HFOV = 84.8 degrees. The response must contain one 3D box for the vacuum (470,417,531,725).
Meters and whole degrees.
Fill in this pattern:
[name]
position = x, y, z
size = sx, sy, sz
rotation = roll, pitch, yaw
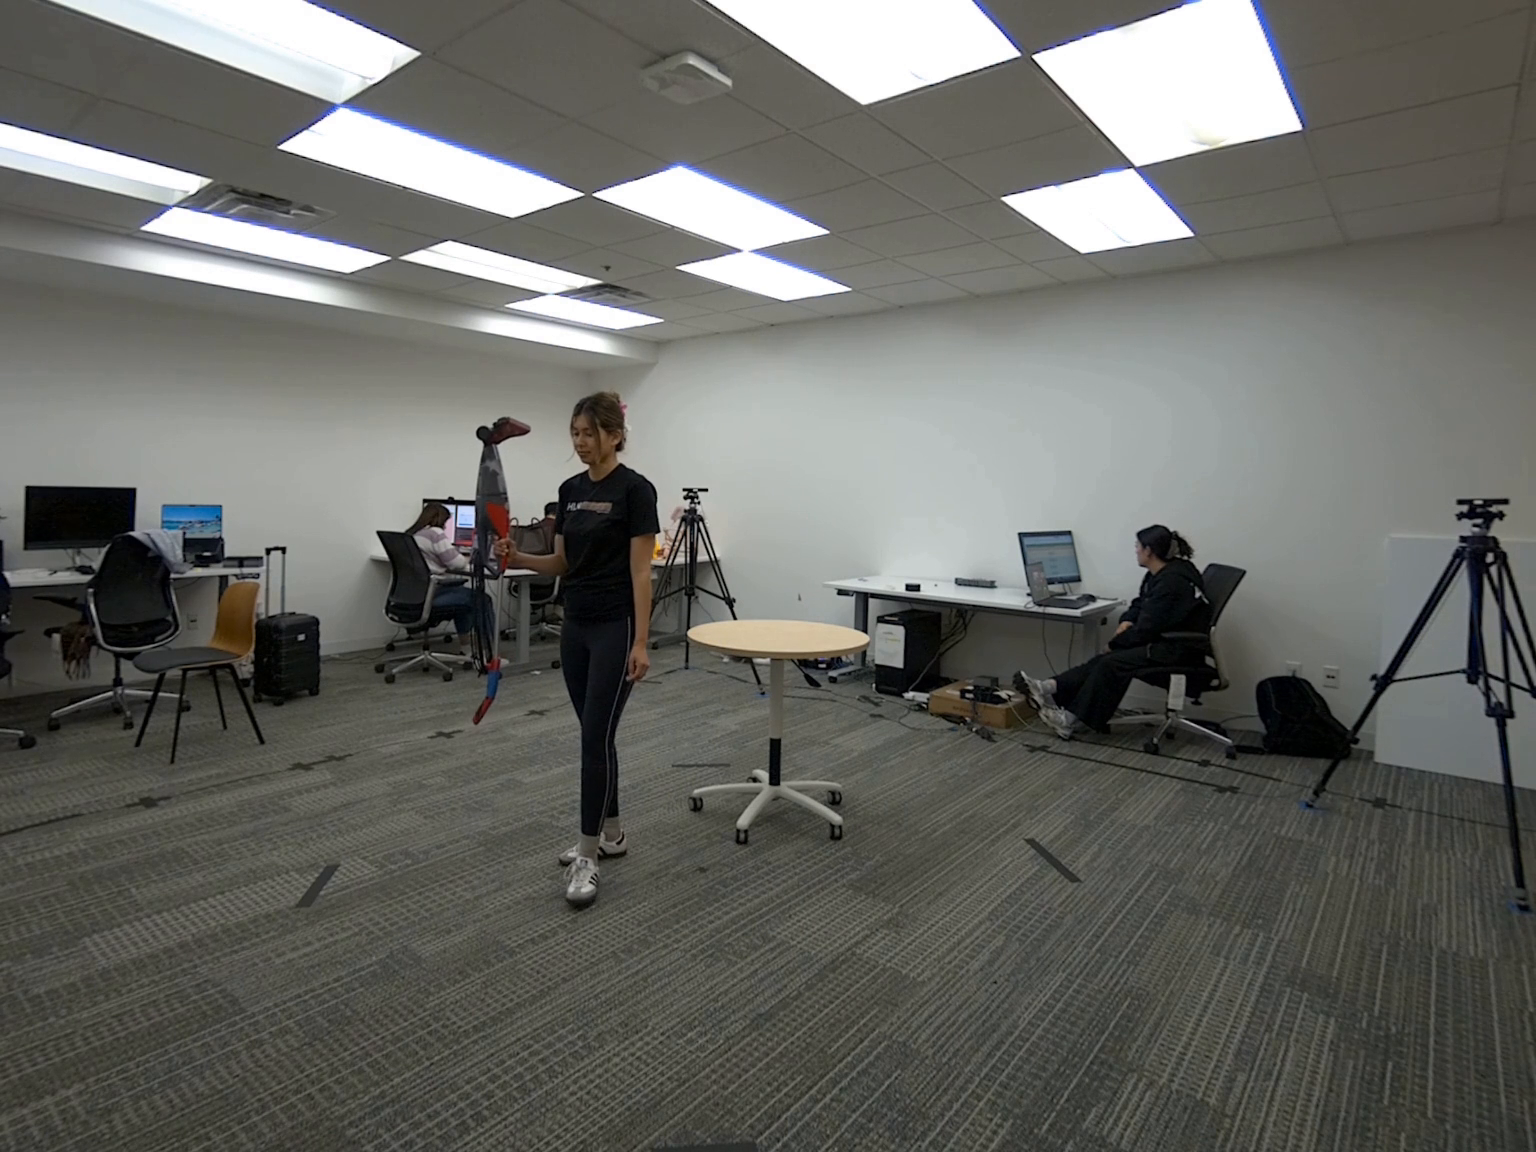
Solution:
[vacuum]
position = -1.009, -0.008, 3.009
size = 0.146, 1.048, 0.250
rotation = 5, 2, 10
